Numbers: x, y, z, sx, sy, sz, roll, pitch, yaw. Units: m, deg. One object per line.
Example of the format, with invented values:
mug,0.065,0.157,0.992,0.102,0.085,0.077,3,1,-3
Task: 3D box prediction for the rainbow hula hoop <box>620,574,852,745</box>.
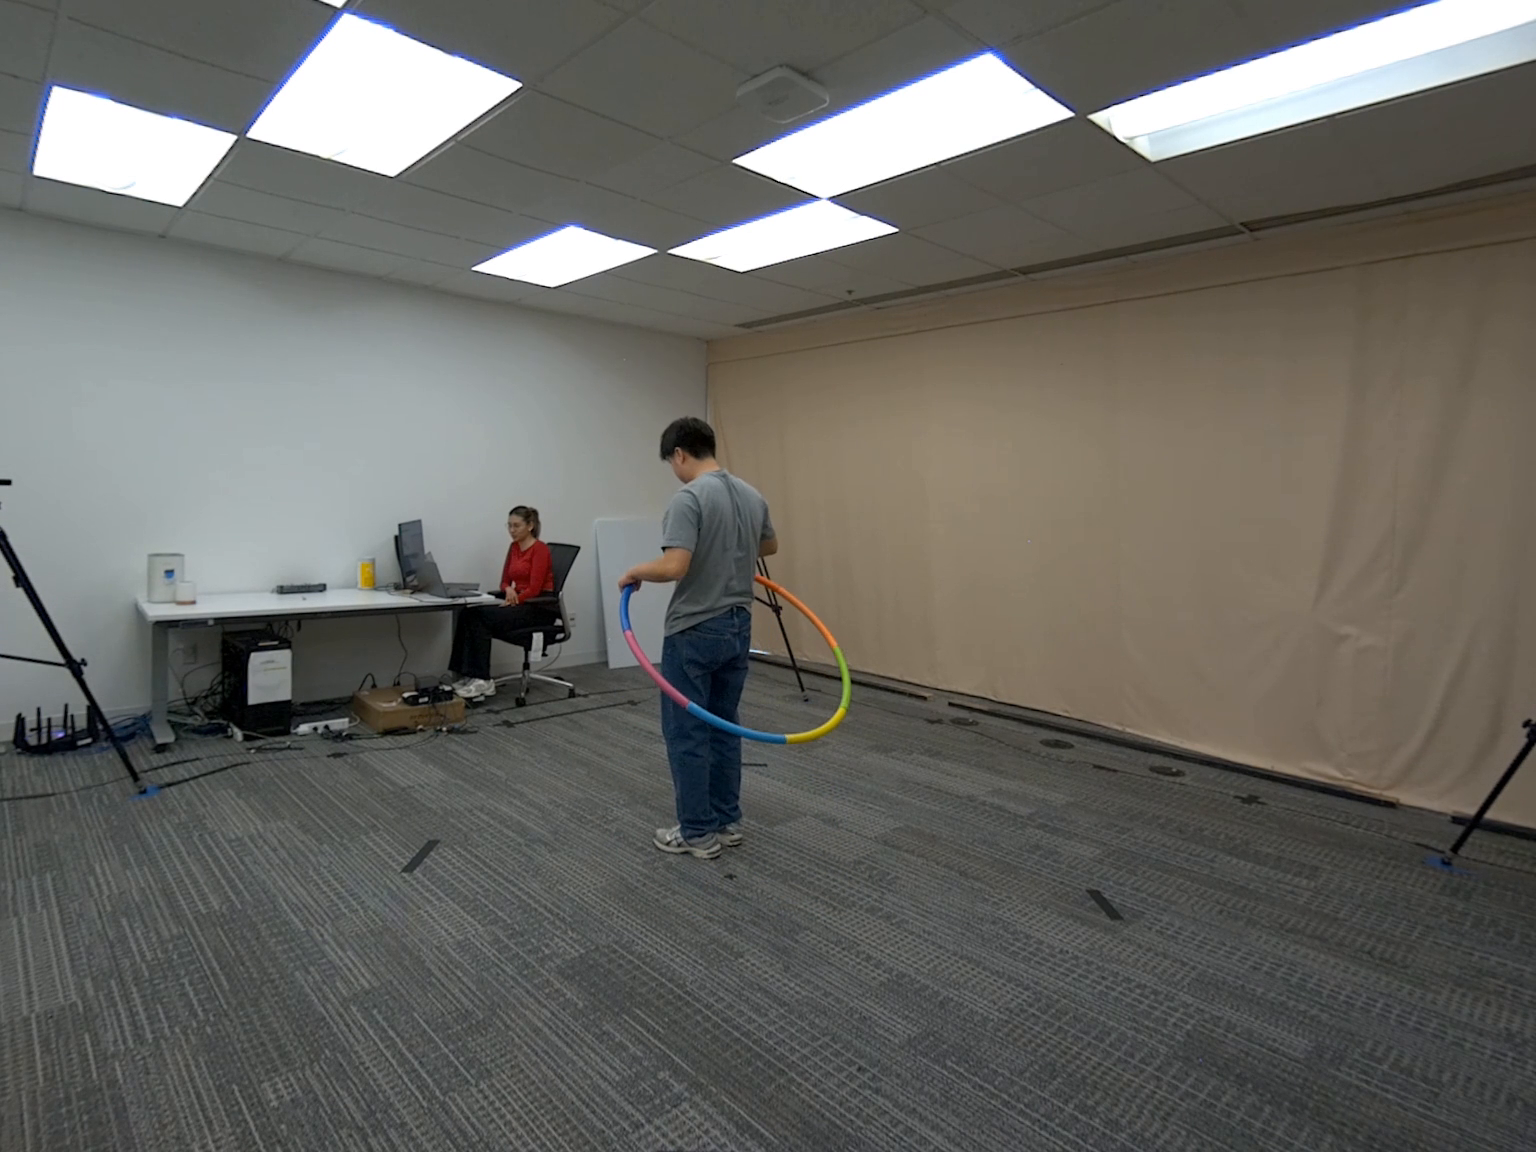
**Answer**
rainbow hula hoop,-0.138,0.251,3.301,0.965,0.035,0.999,20,32,-14
